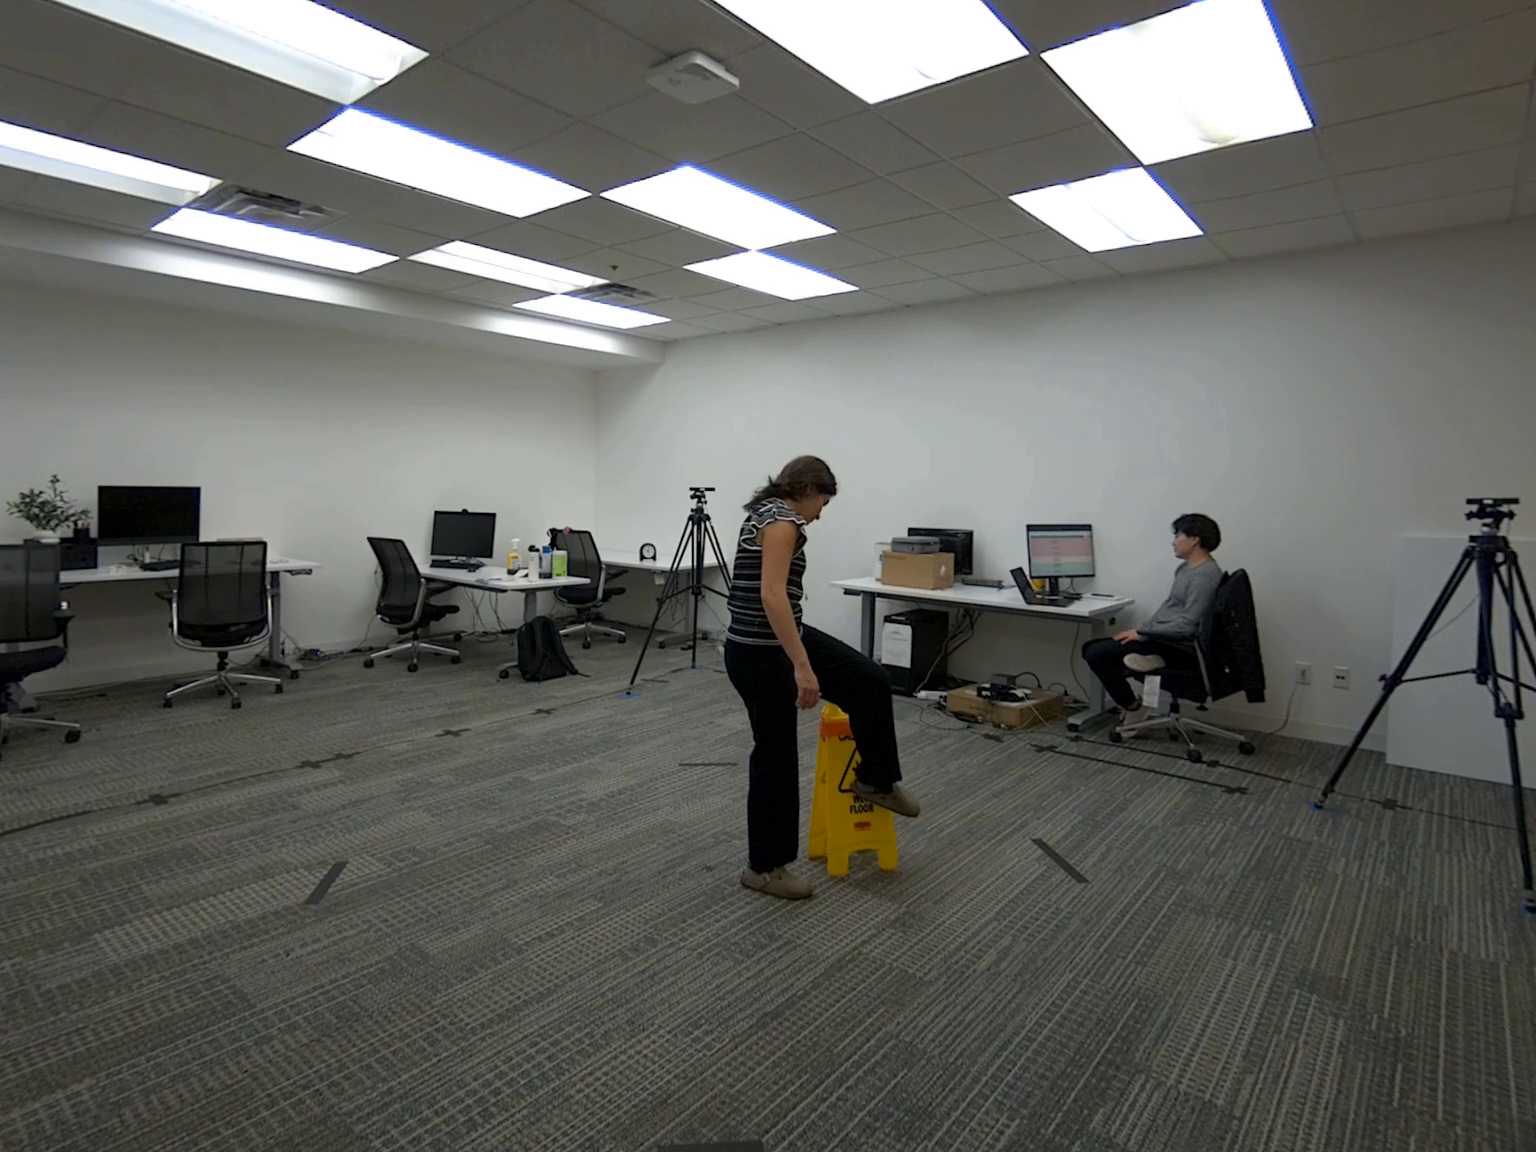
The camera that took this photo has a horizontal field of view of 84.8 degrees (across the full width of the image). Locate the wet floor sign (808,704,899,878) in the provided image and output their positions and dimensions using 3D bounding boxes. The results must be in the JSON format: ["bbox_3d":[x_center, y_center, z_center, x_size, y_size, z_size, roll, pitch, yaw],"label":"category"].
[{"bbox_3d":[0.305,0.738,3.182,0.277,0.648,0.295,0,-2,-20],"label":"wet floor sign"}]
